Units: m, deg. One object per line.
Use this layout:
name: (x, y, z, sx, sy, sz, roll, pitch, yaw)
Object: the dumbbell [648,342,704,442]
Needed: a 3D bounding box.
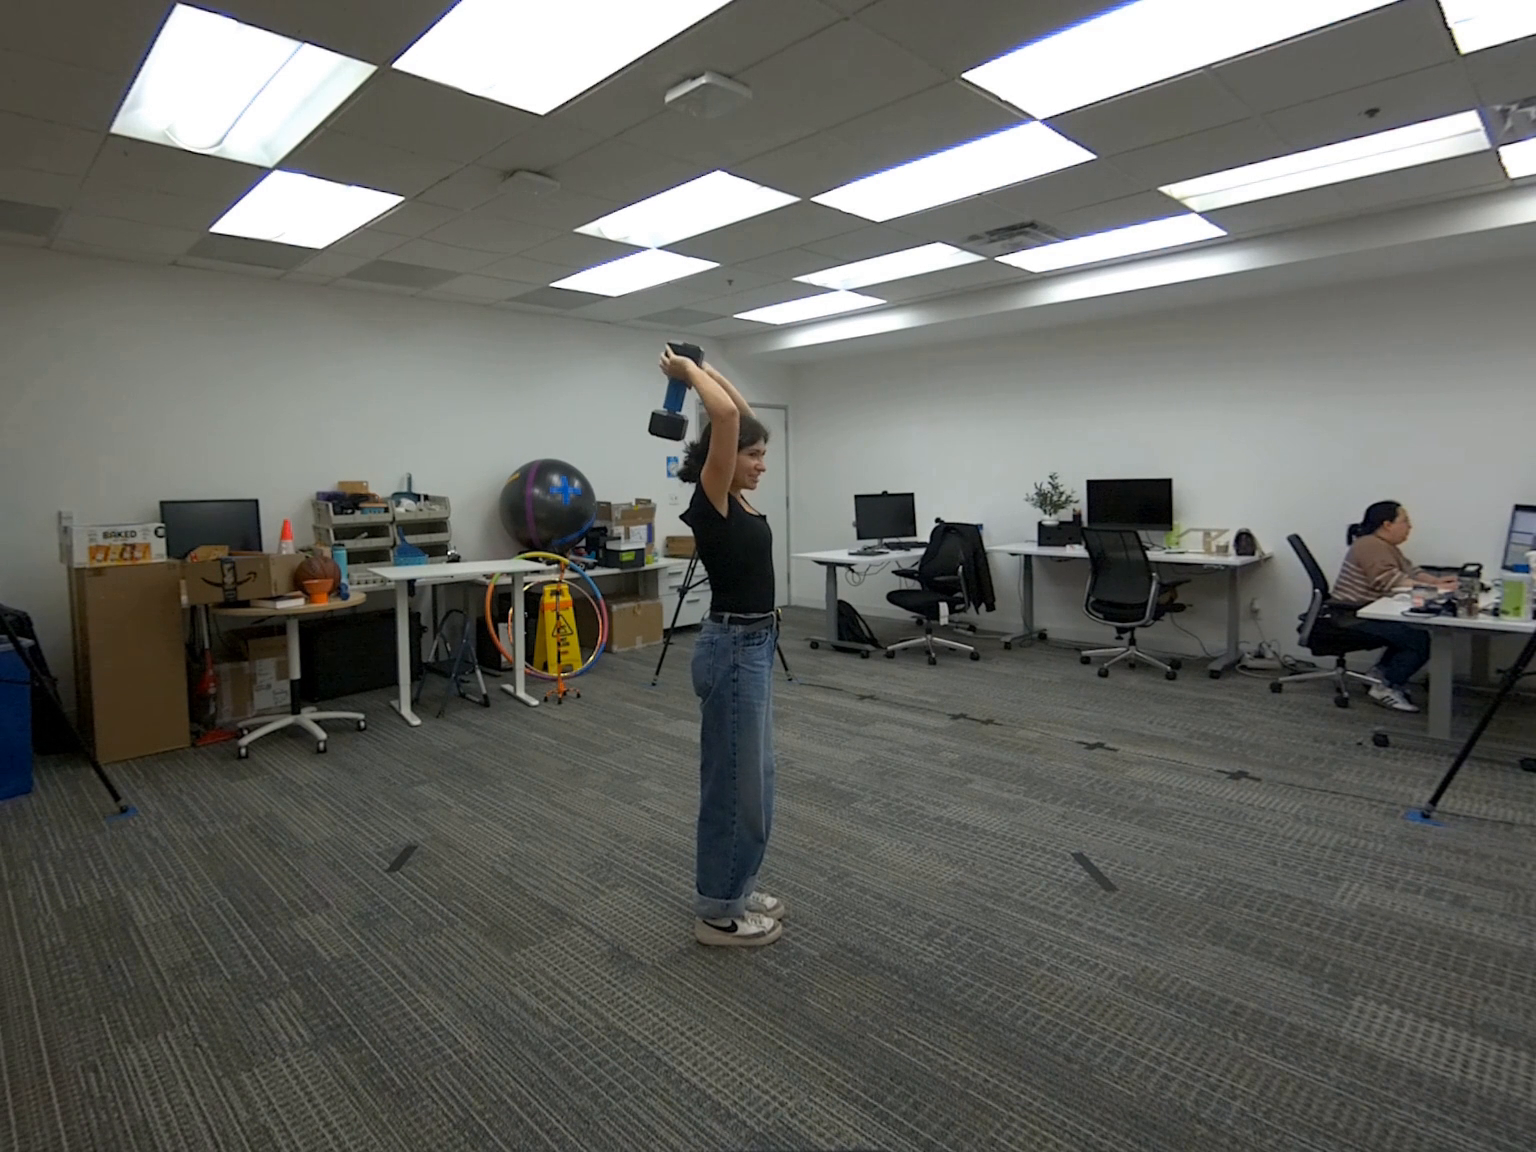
dumbbell: (-0.271, -0.559, 2.595, 0.127, 0.291, 0.105, 26, 16, 38)
